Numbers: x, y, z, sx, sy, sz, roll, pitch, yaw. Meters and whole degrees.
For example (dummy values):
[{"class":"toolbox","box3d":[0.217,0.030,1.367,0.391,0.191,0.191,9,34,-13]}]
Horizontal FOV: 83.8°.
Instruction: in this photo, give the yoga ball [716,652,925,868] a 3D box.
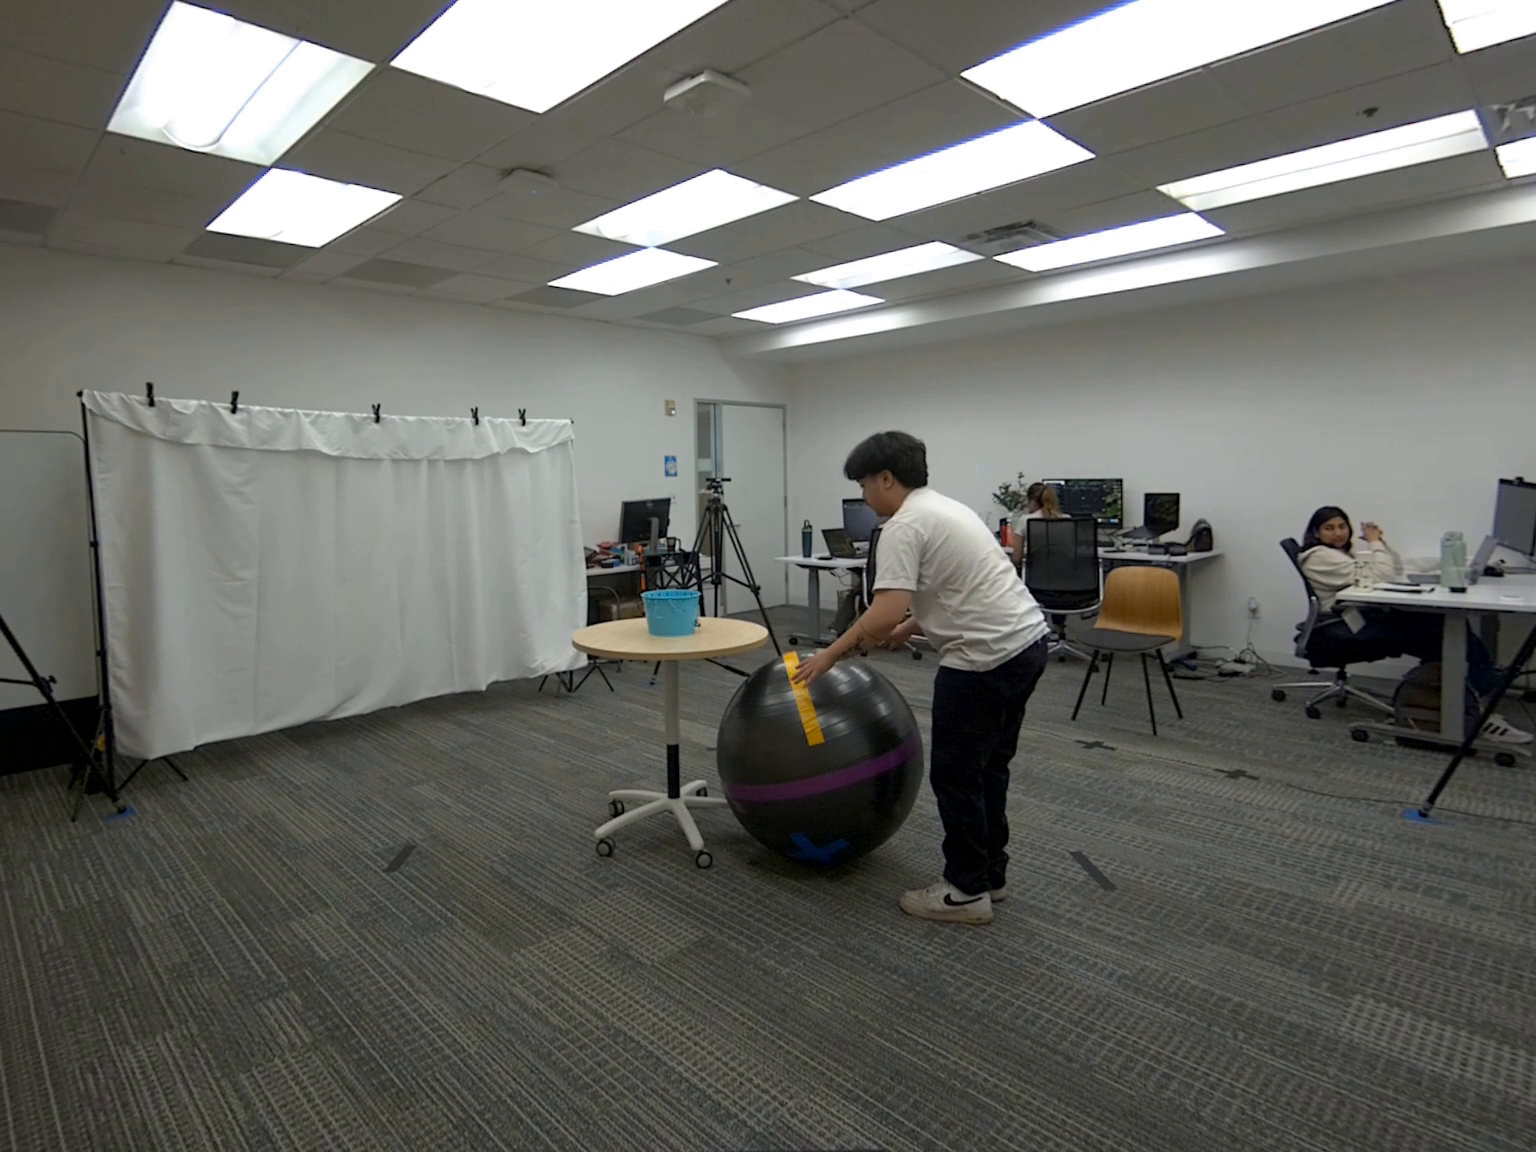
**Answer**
[{"class":"yoga ball","box3d":[0.188,0.667,3.154,0.757,0.755,0.762,-1,5,-2]}]
